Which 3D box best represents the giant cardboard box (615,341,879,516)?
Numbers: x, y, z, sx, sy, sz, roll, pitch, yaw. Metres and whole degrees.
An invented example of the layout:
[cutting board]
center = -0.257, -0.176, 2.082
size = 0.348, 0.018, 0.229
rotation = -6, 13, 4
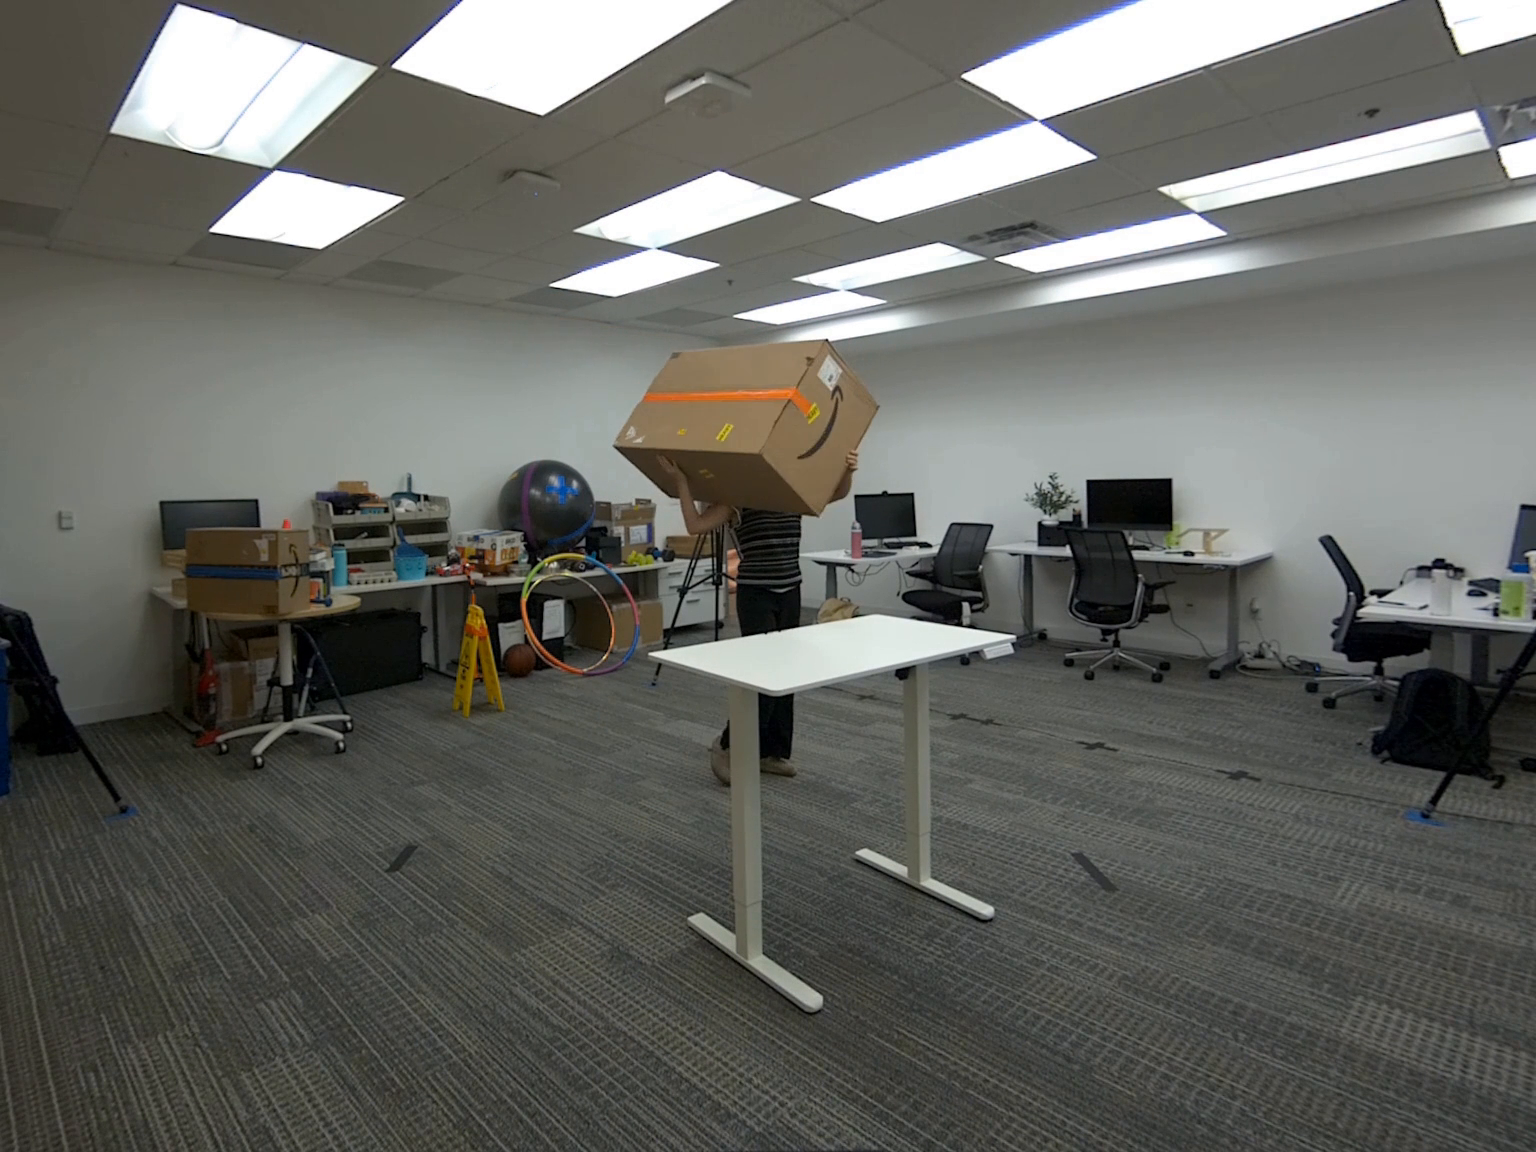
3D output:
[giant cardboard box]
center = -0.129, -0.658, 3.768
size = 1.060, 0.580, 0.410
rotation = 12, -24, 48
